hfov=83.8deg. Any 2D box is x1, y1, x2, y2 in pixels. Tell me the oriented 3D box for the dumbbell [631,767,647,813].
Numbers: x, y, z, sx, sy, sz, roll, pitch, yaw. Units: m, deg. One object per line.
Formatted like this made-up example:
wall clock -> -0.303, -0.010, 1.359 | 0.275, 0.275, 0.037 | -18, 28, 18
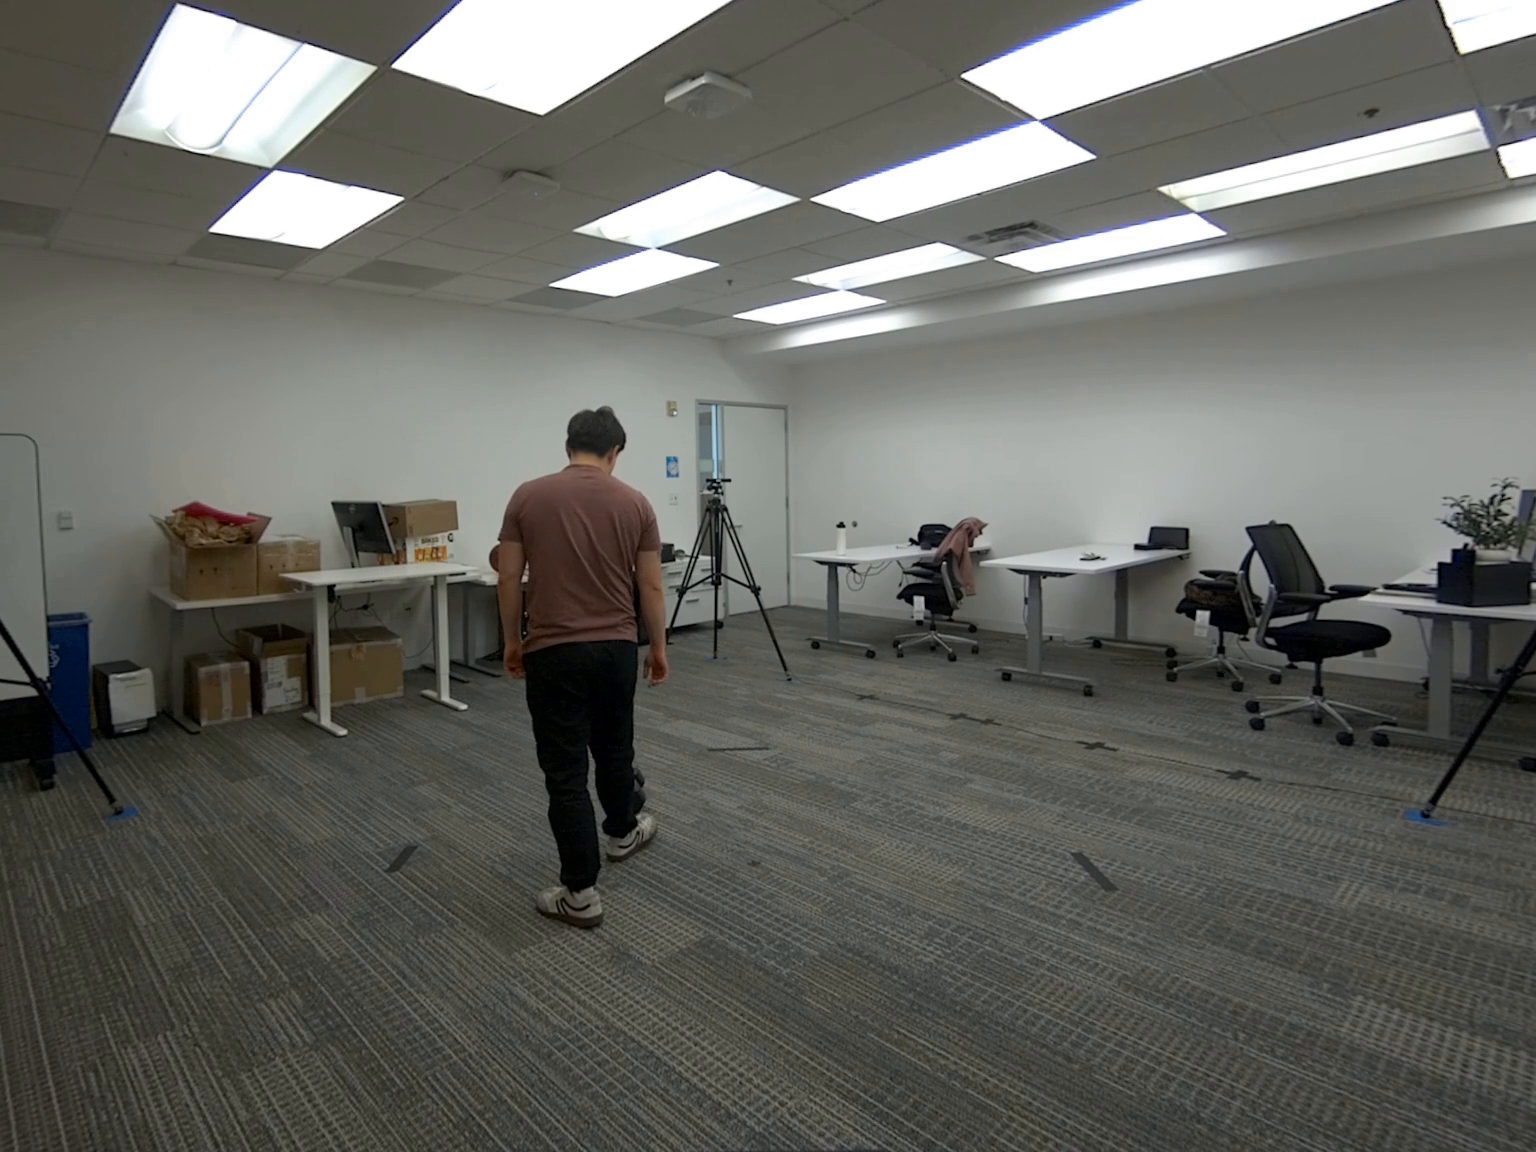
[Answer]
dumbbell -> -0.592, 0.935, 3.733 | 0.122, 0.108, 0.297 | -2, 7, -8
